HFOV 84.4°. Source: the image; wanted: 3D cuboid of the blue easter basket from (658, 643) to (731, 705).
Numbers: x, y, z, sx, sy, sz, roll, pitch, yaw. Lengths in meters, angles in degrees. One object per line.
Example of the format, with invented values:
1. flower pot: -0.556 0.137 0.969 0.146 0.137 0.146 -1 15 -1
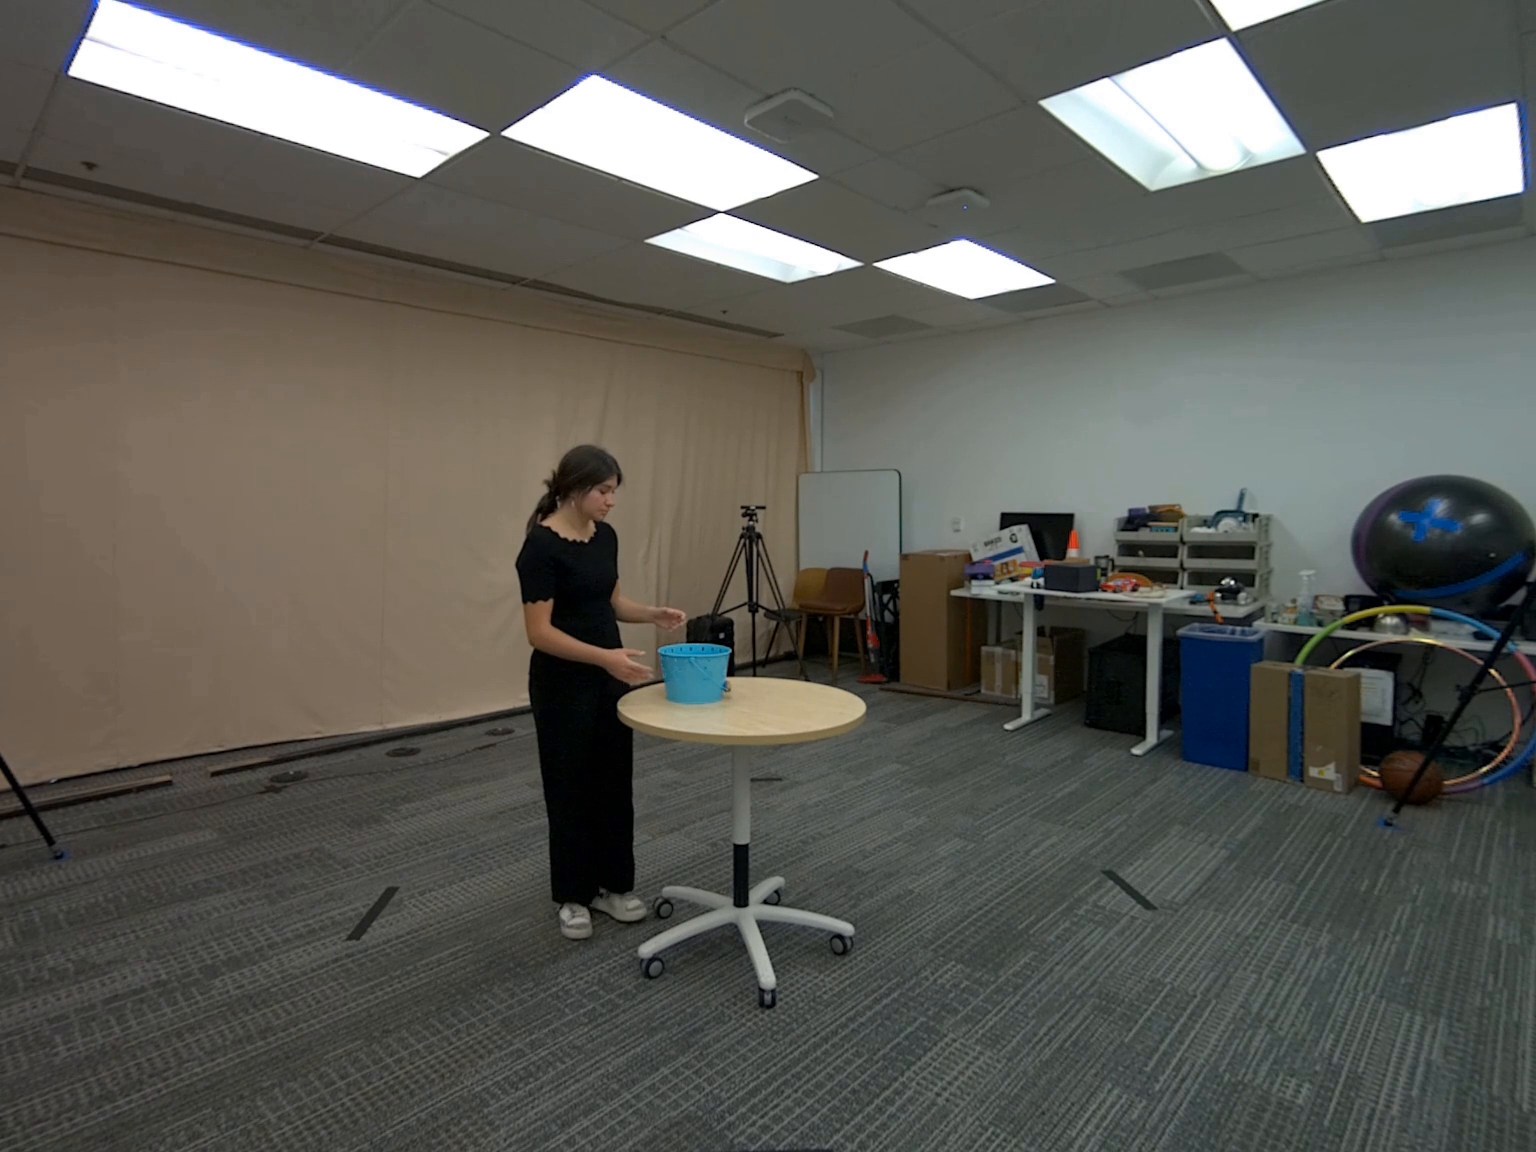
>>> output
1. blue easter basket: -0.233 0.317 2.654 0.243 0.155 0.244 0 4 -2
